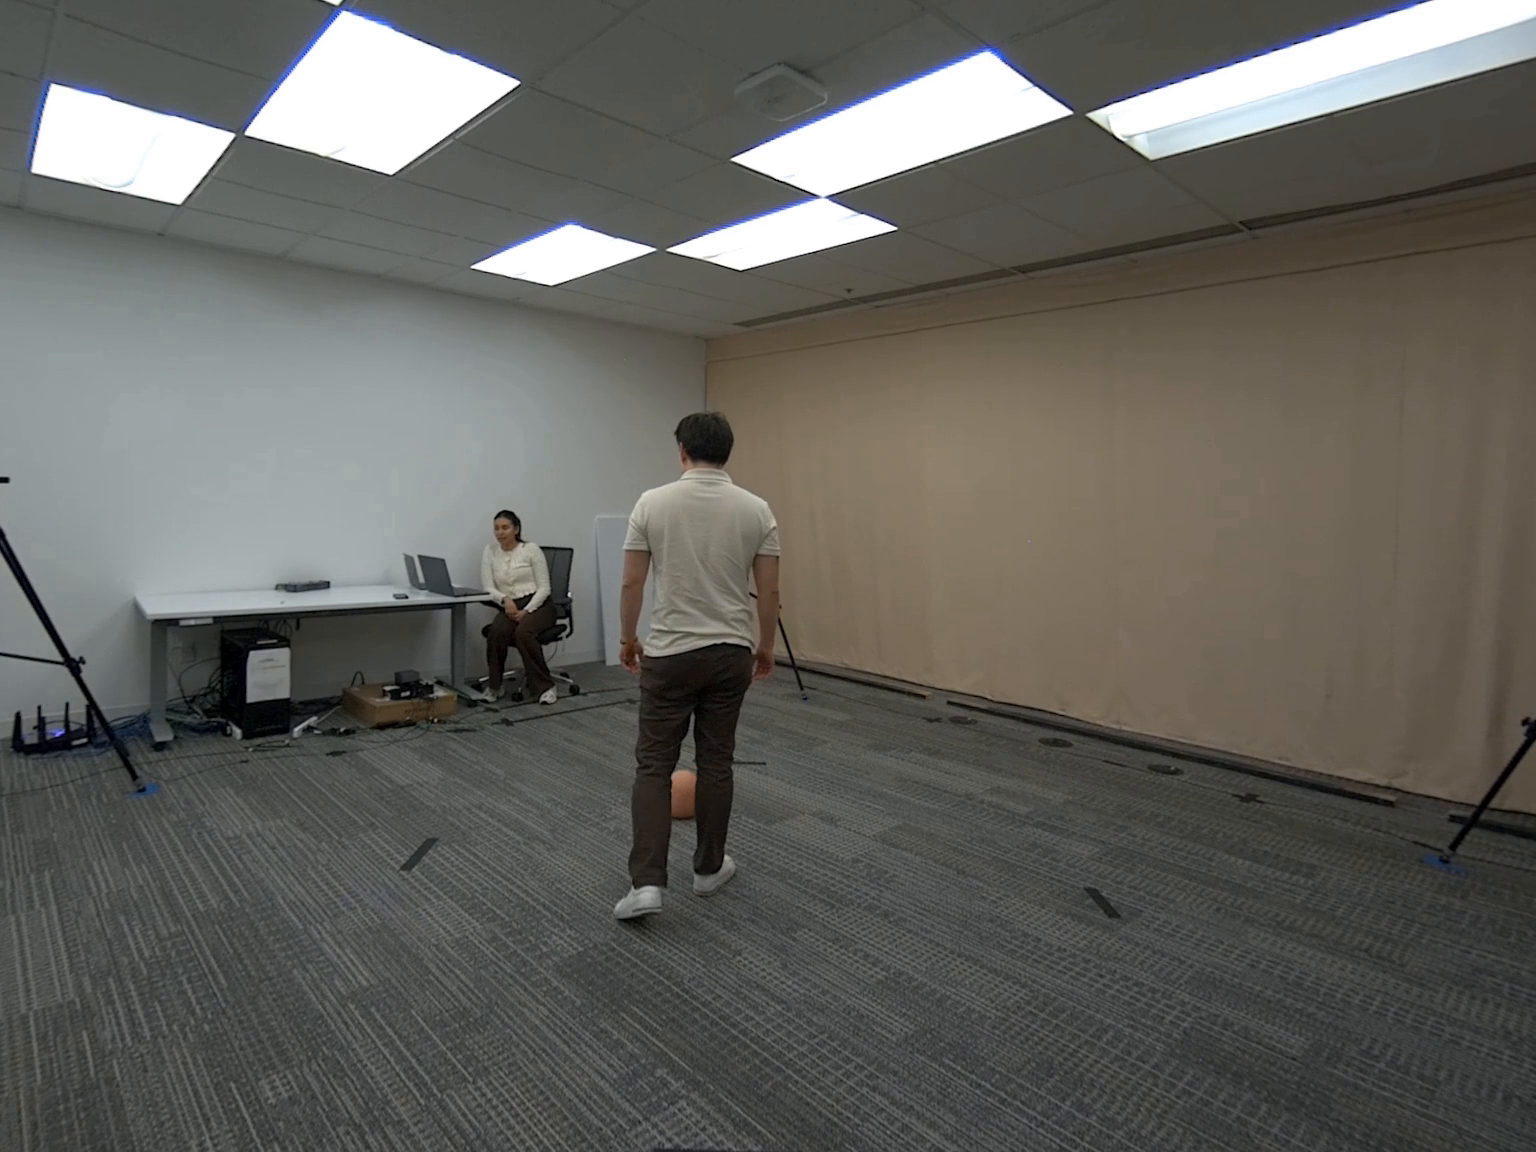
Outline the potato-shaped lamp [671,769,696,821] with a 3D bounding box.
[{"bbox_3d":[-0.390,0.953,3.687,0.162,0.198,0.174,2,2,-23],"label":"potato-shaped lamp"}]
